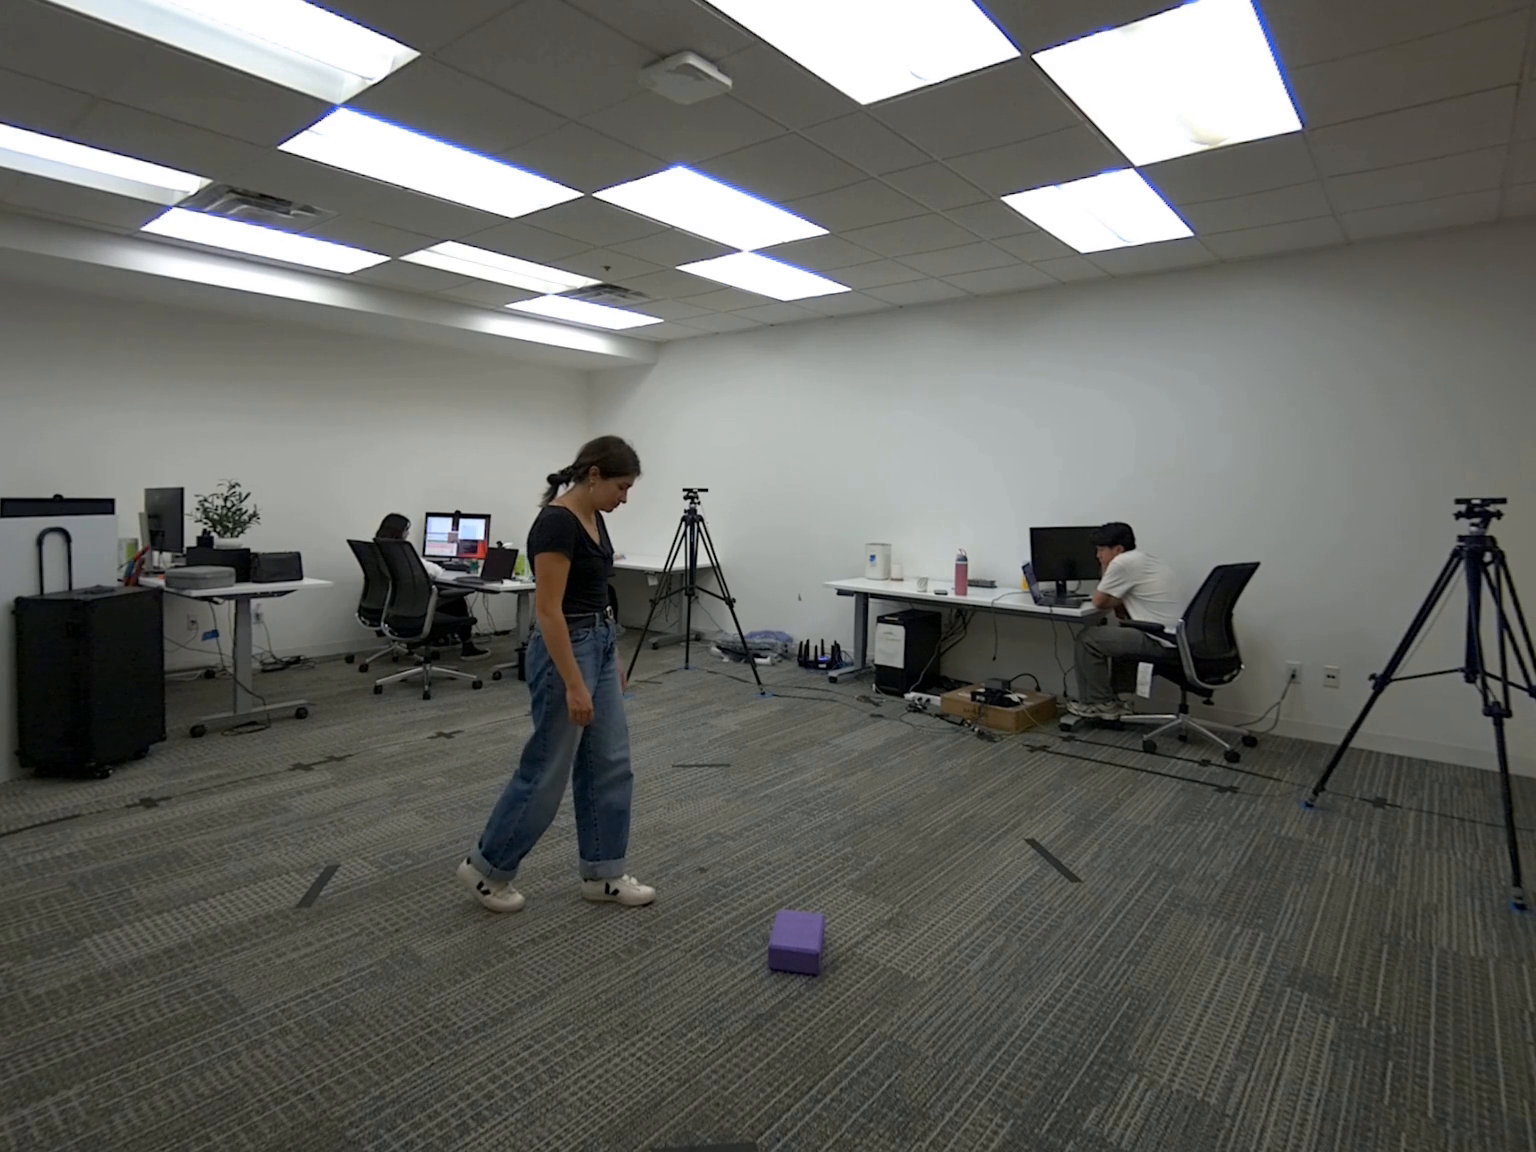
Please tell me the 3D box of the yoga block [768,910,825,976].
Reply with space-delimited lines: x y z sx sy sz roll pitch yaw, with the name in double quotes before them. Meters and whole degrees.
"yoga block" 0.091 1.086 2.554 0.151 0.076 0.227 1 4 10
